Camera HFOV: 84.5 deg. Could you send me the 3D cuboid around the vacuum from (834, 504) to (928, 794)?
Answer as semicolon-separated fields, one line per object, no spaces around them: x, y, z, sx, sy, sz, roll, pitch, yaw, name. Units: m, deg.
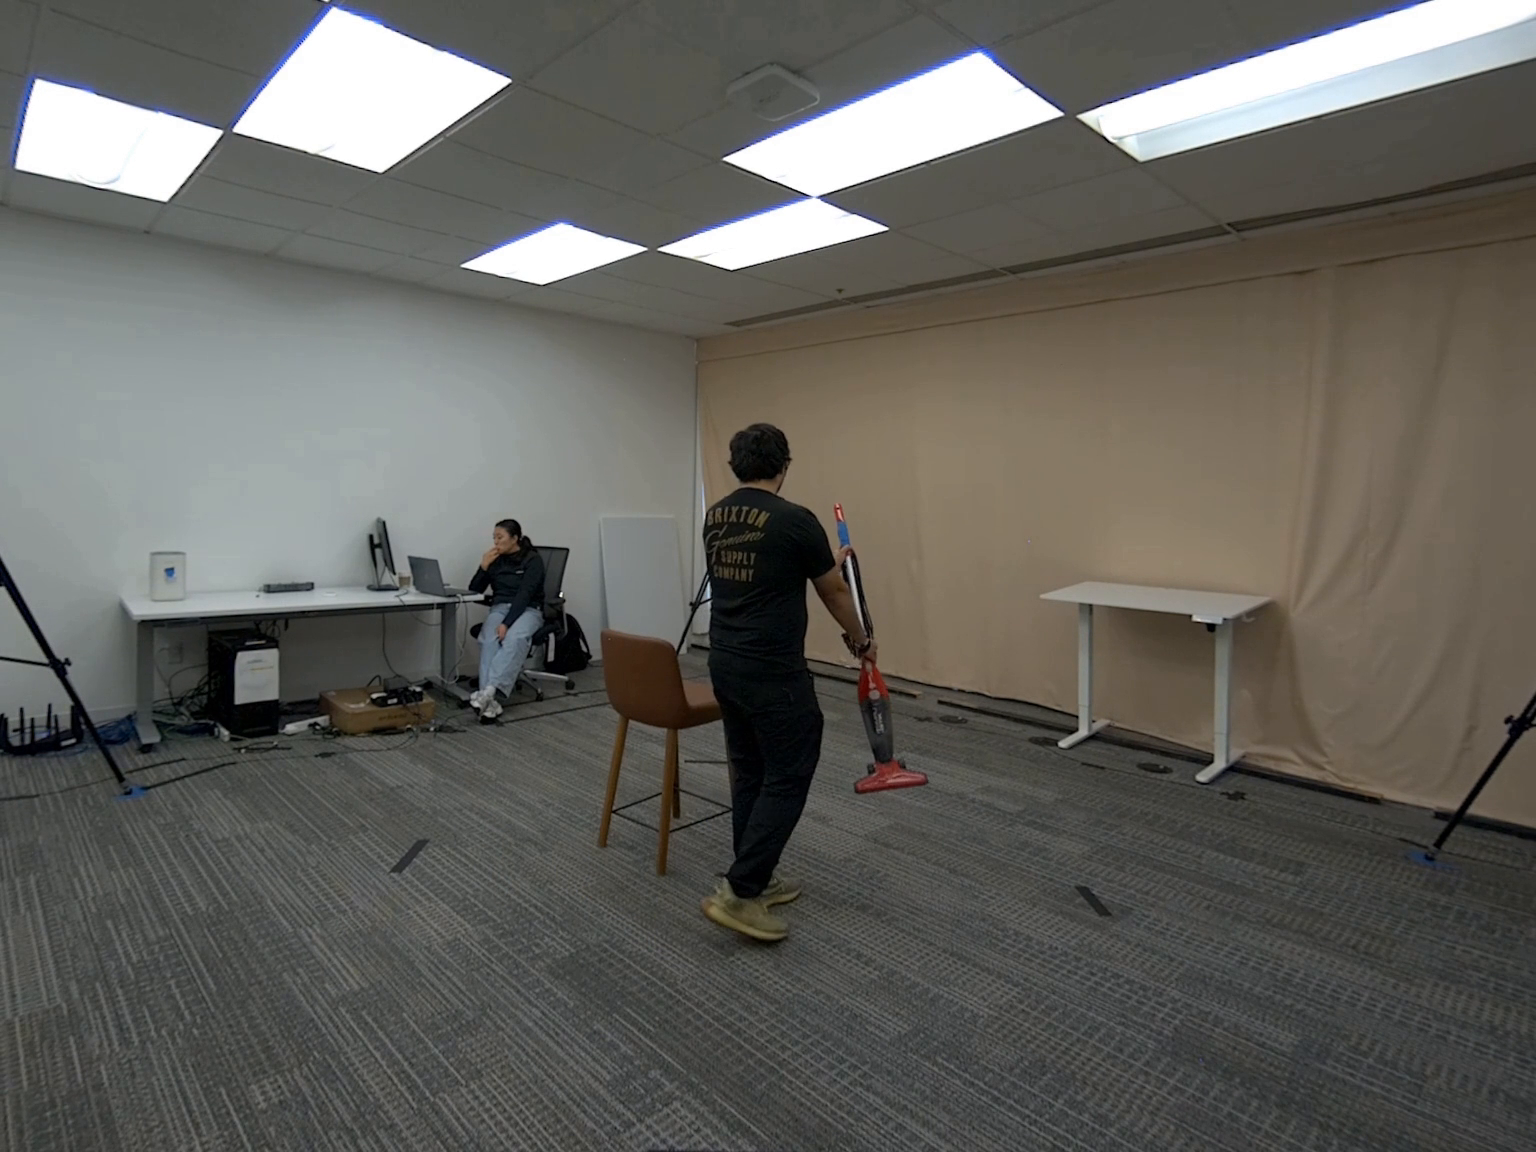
0.347;0.216;3.123;0.254;1.067;0.140;-12;-21;11;vacuum
